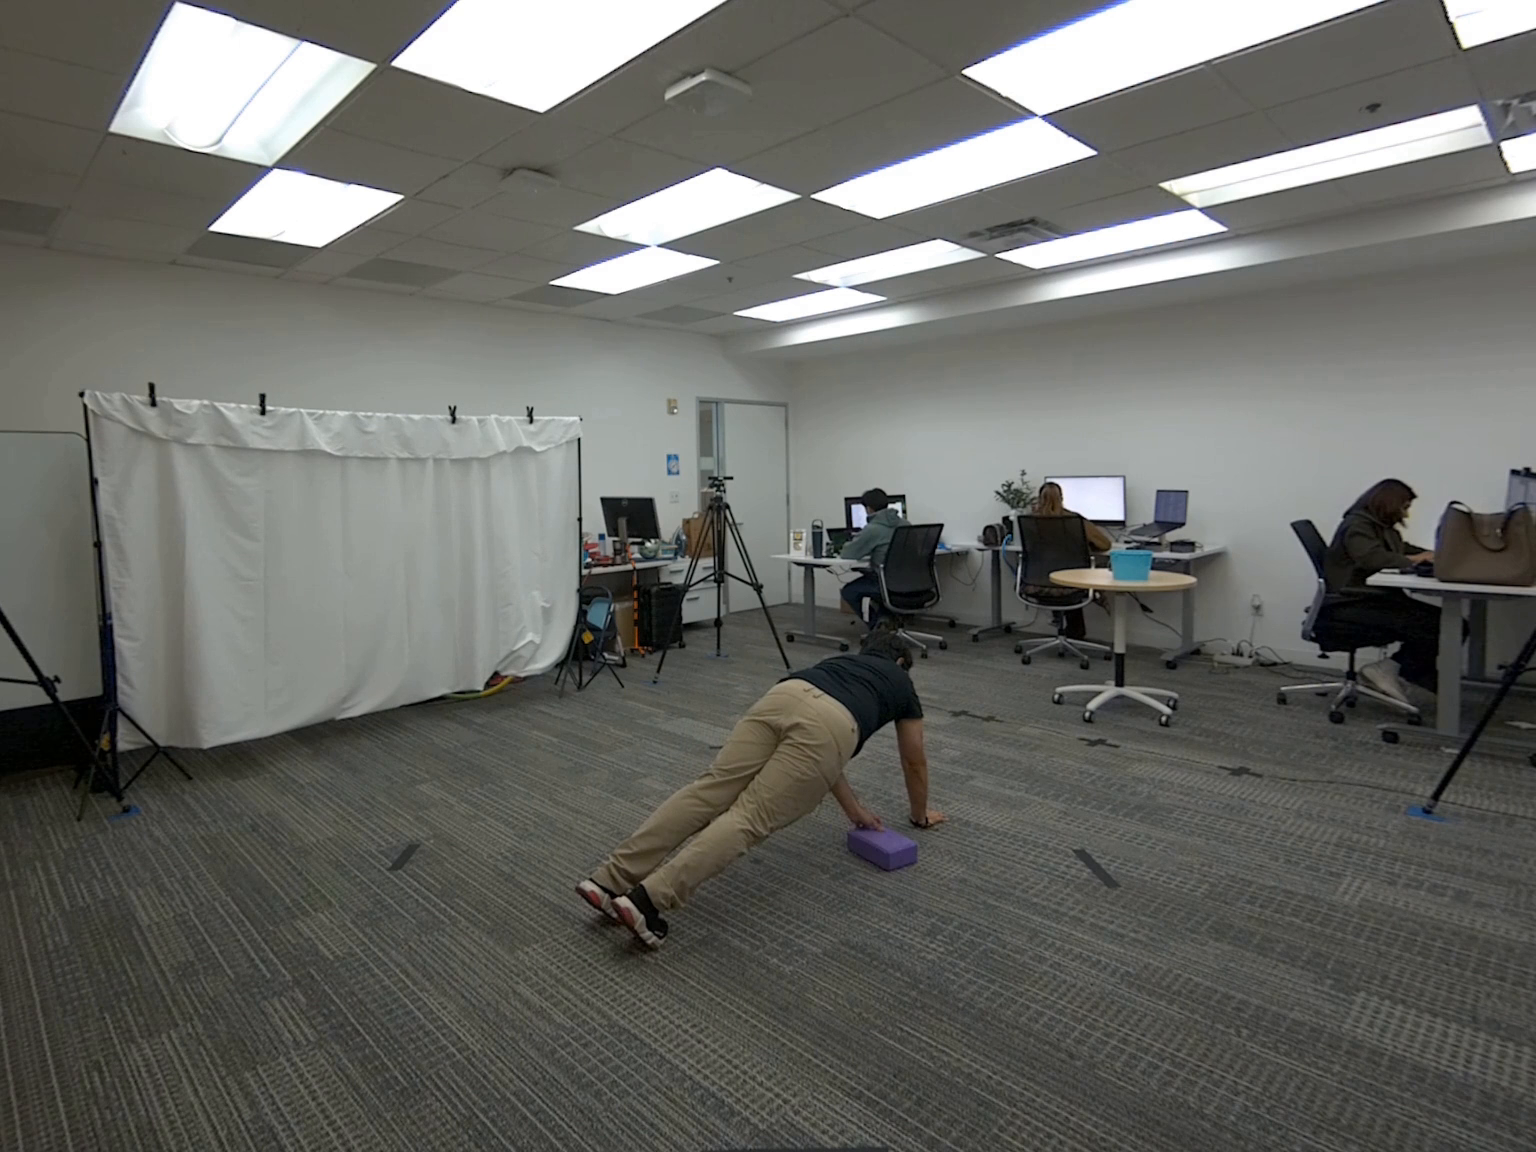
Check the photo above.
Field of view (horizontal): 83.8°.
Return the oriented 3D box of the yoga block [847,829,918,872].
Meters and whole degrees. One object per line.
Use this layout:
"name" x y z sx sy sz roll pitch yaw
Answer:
"yoga block" 0.415 0.988 3.127 0.145 0.076 0.236 -3 6 -32
